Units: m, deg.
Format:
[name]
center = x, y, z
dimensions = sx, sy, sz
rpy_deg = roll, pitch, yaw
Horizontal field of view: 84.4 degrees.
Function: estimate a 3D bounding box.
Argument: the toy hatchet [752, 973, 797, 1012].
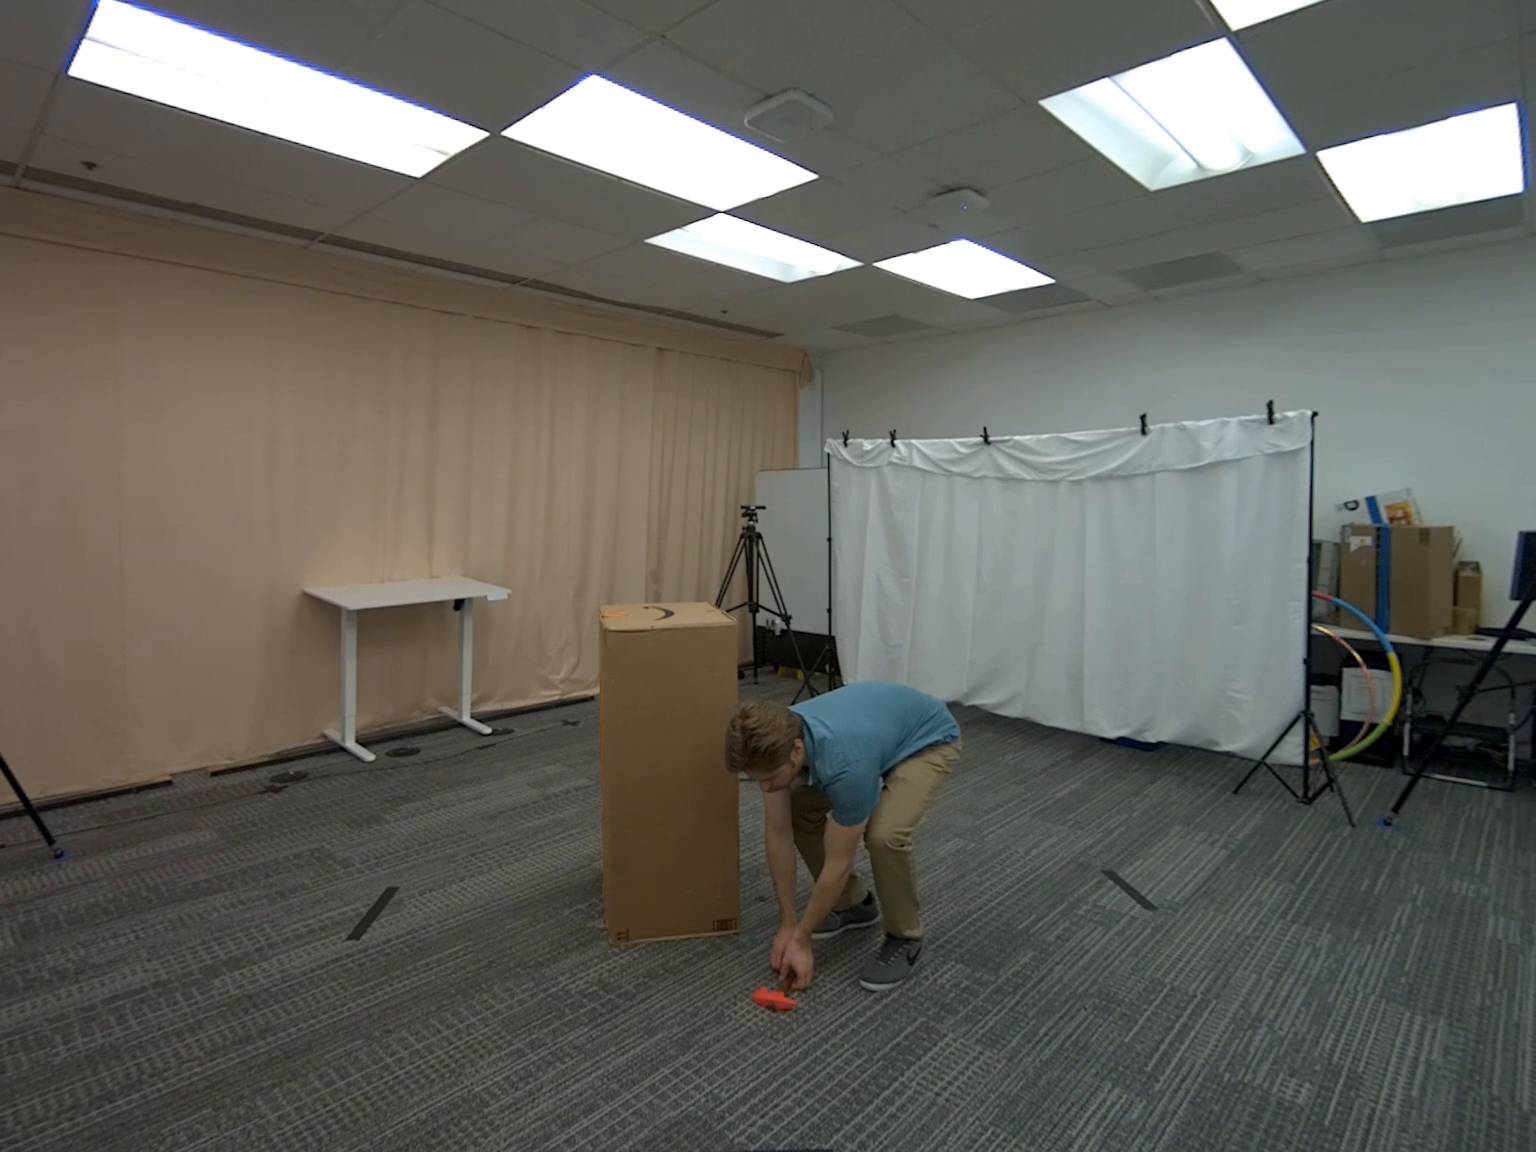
[toy hatchet]
center = 0.023, 1.174, 2.442
dimensions = 0.131, 0.029, 0.270
rpy_deg = -6, 2, 1
